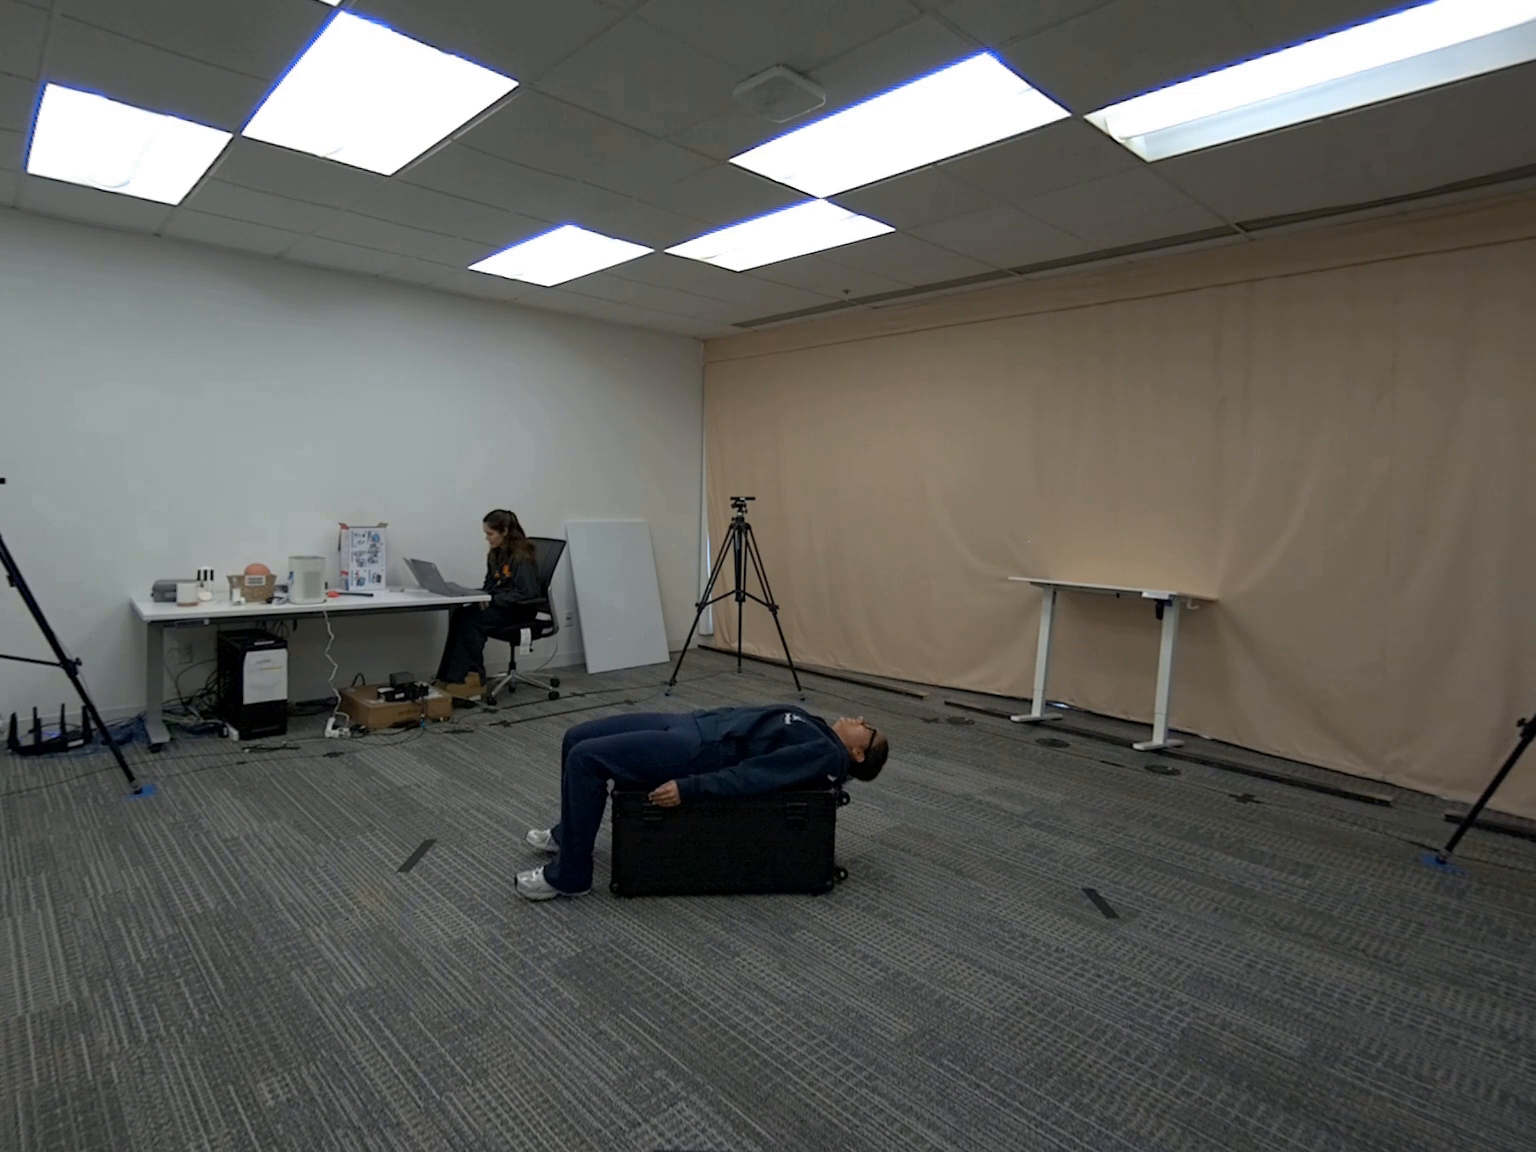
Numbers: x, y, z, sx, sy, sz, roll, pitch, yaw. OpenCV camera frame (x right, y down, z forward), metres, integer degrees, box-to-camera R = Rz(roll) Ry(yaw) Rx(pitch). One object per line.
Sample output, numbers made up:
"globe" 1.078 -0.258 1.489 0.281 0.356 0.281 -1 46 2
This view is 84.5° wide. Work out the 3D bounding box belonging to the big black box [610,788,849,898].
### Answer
"big black box" -0.146 0.912 3.153 0.857 0.395 0.525 0 4 -7
